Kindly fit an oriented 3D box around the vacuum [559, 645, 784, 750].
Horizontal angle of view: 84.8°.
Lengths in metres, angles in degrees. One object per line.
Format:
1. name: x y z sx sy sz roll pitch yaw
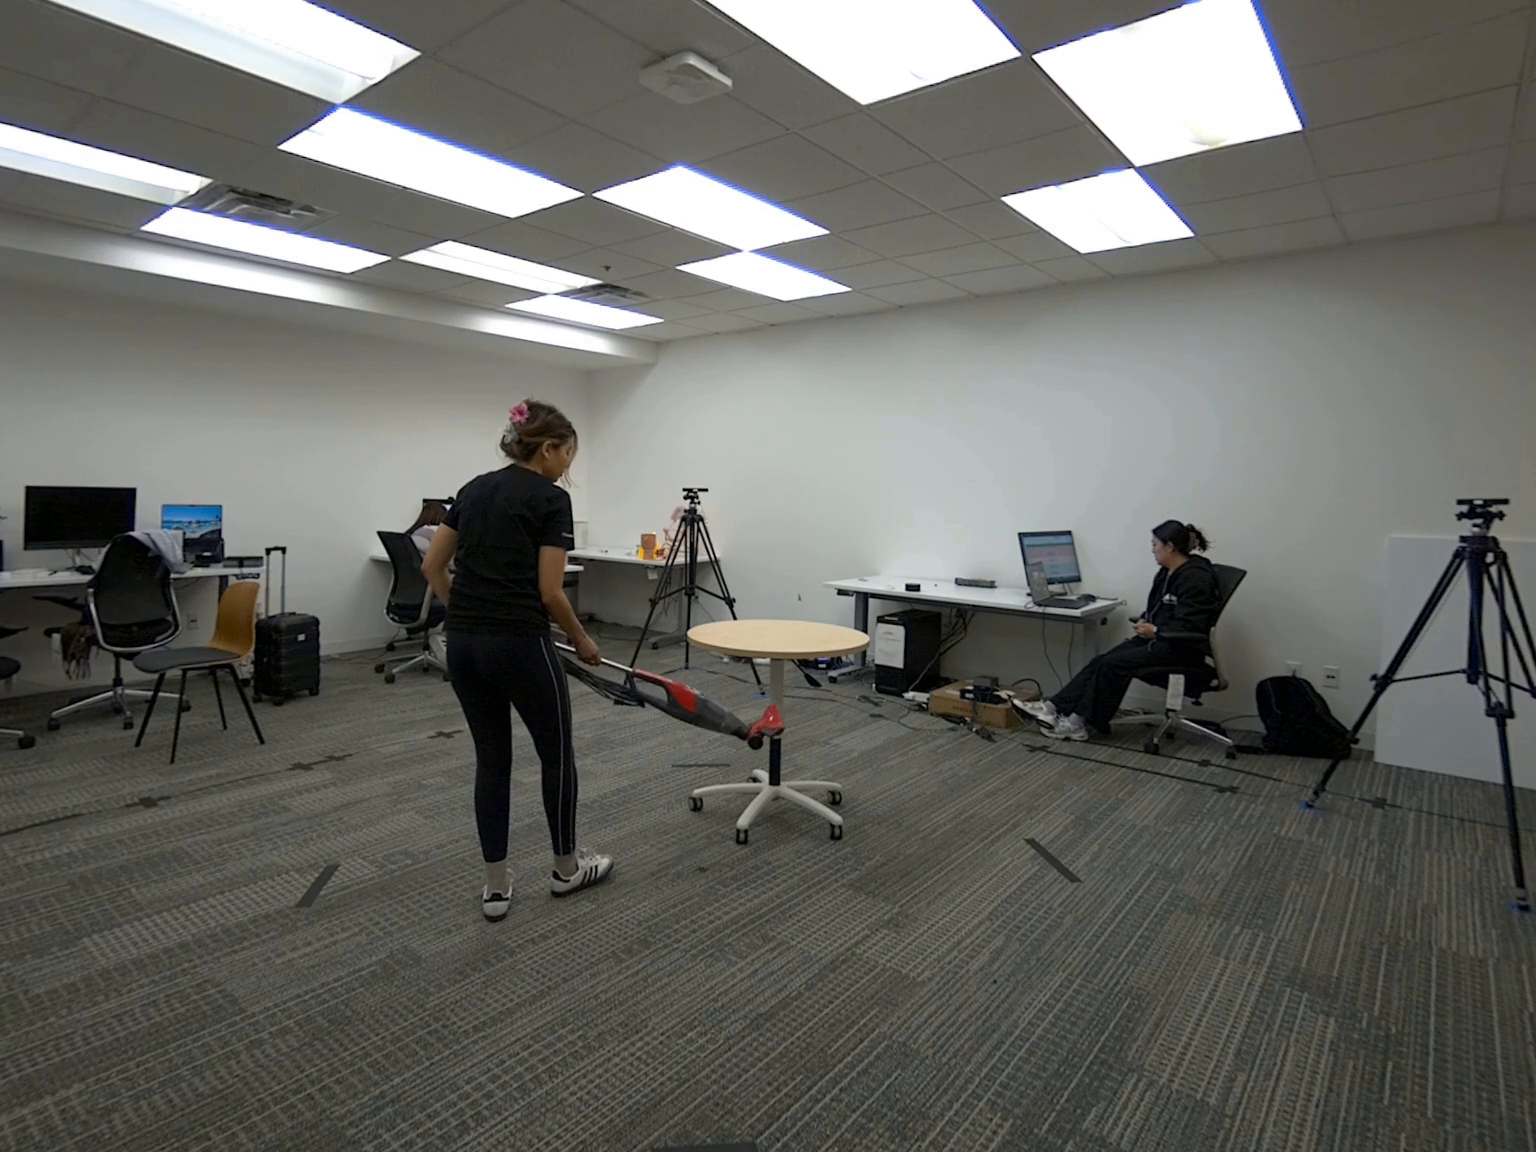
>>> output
1. vacuum: -0.499 0.371 2.967 1.044 0.143 0.254 19 6 -4
